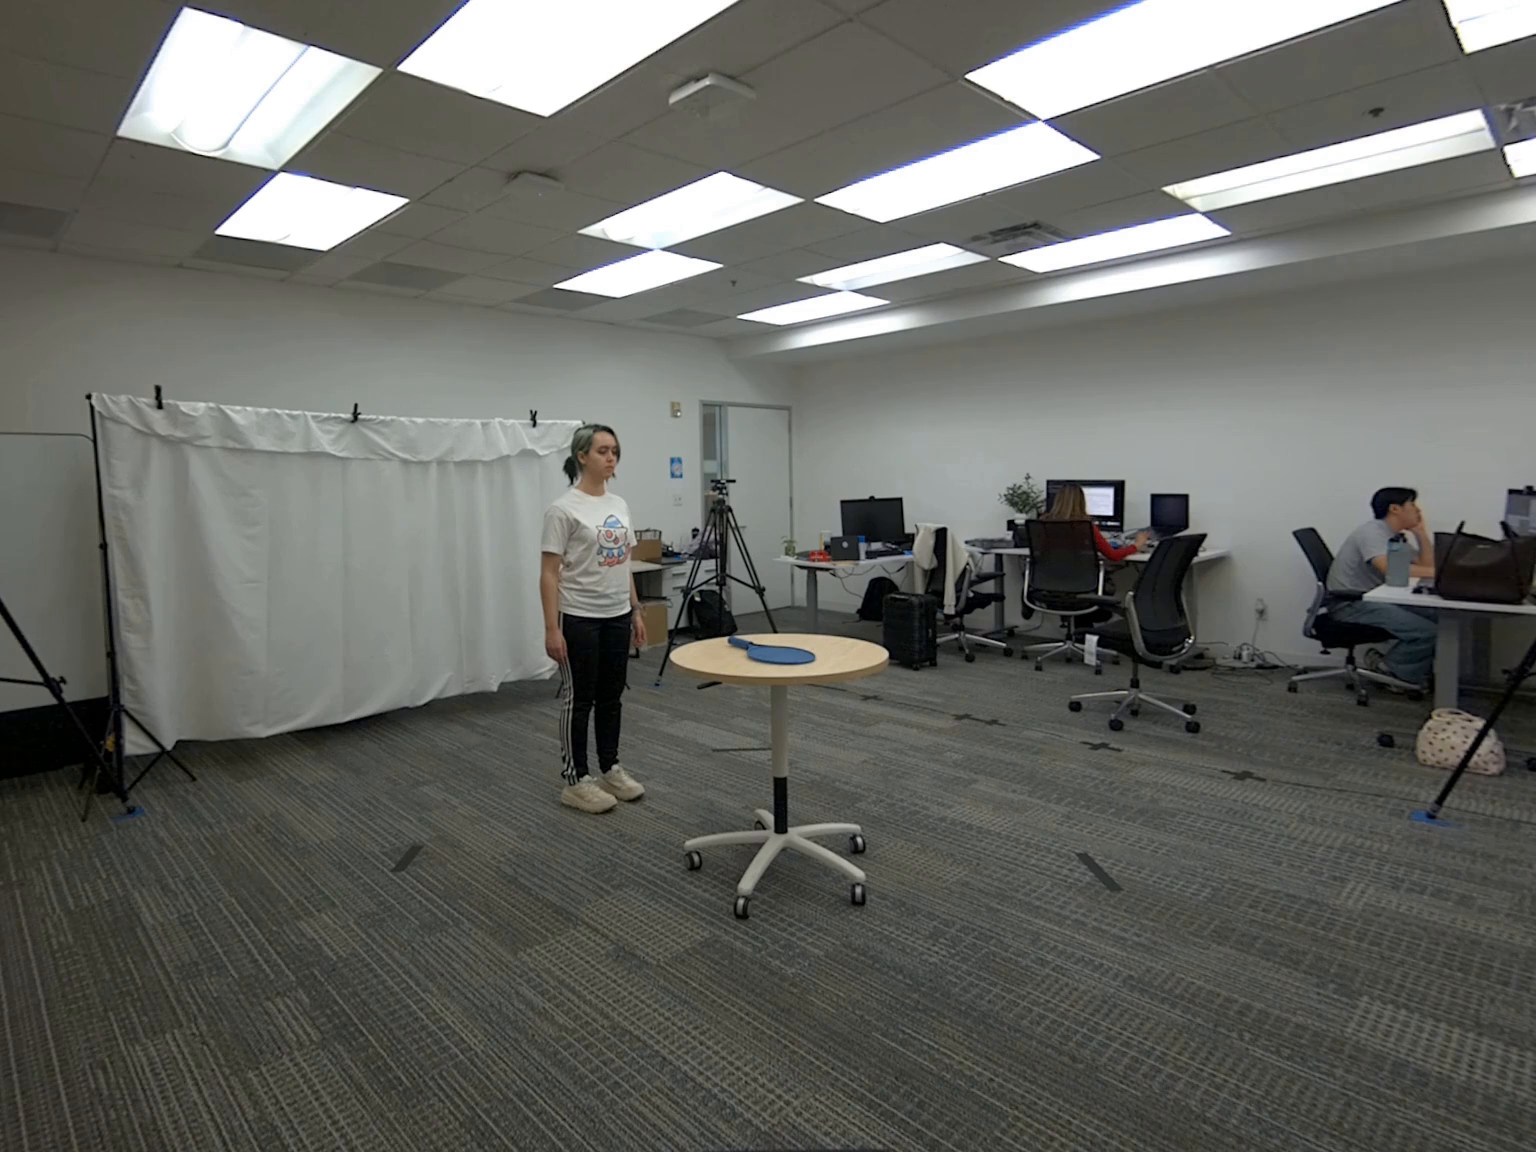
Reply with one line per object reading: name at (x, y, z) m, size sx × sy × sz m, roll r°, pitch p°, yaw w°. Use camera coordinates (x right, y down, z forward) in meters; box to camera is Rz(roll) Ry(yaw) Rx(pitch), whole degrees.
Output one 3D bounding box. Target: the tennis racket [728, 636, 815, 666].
tennis racket at (-0.001, 0.267, 2.989) m, size 0.208 × 0.031 × 0.446 m, roll -4°, pitch 8°, yaw -32°
